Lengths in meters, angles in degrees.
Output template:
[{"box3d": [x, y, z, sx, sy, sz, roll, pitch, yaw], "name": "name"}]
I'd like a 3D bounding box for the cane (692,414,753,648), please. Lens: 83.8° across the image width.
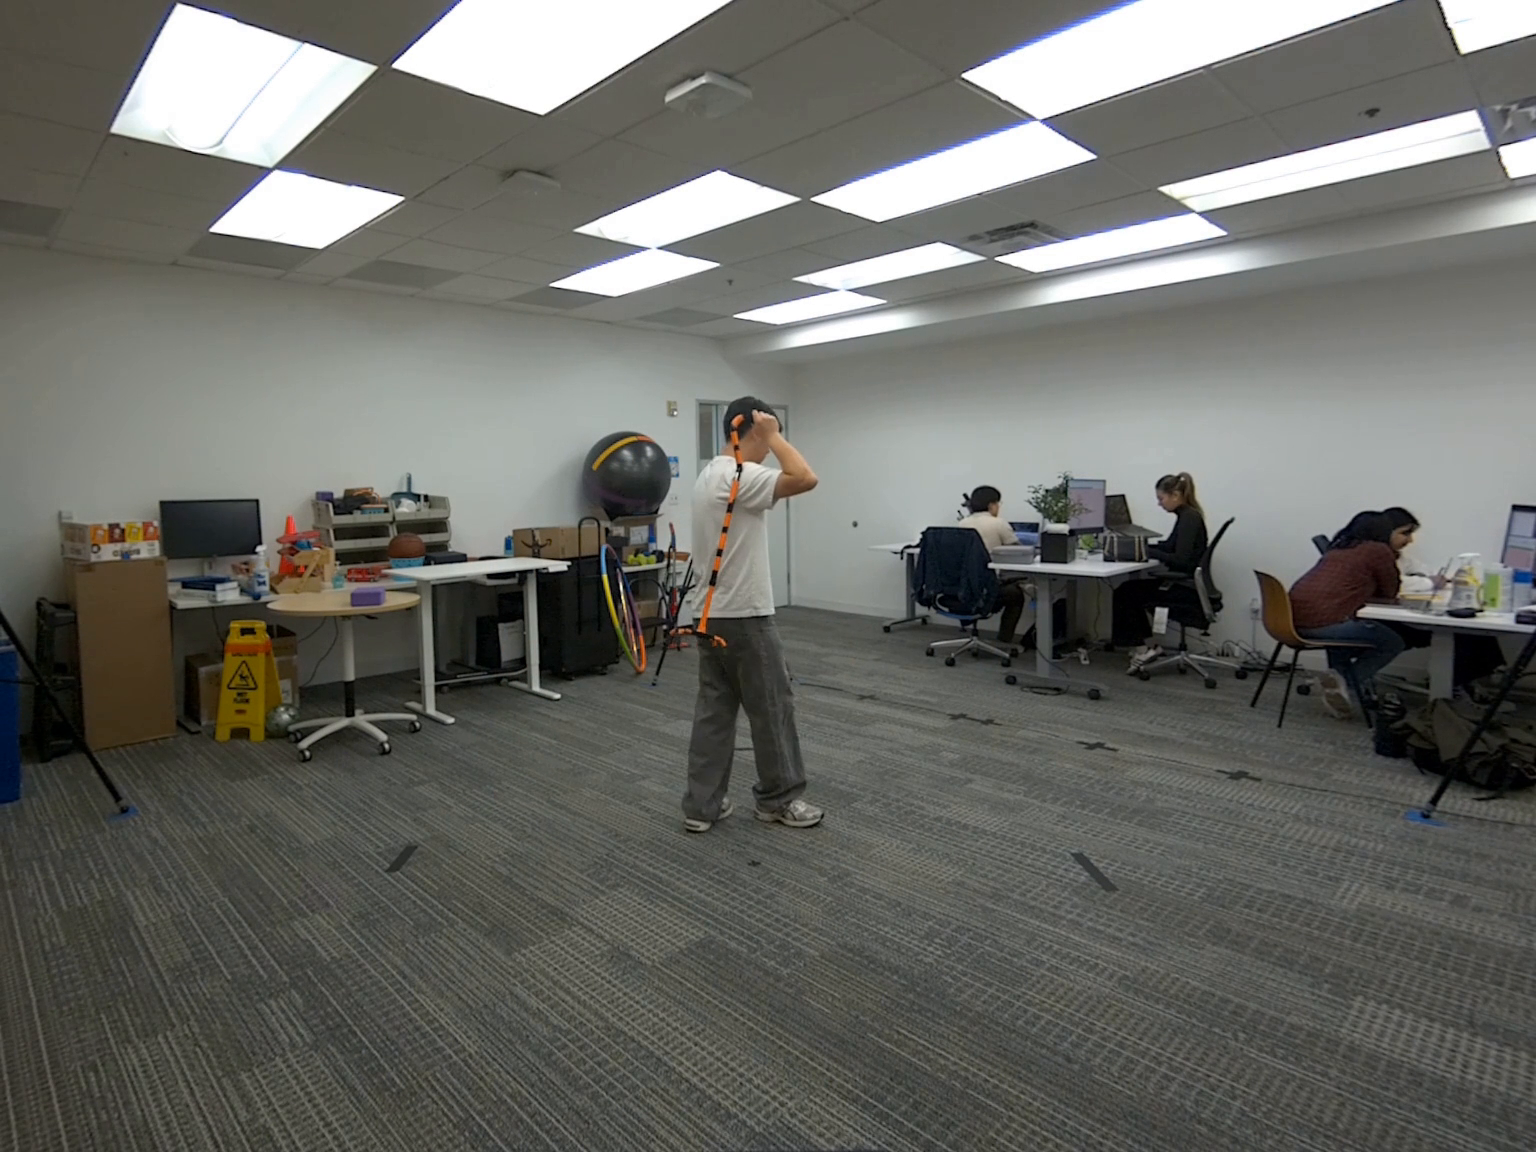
[{"box3d": [-0.157, -0.178, 3.174, 0.202, 0.914, 0.153, 14, -10, -17], "name": "cane"}]
